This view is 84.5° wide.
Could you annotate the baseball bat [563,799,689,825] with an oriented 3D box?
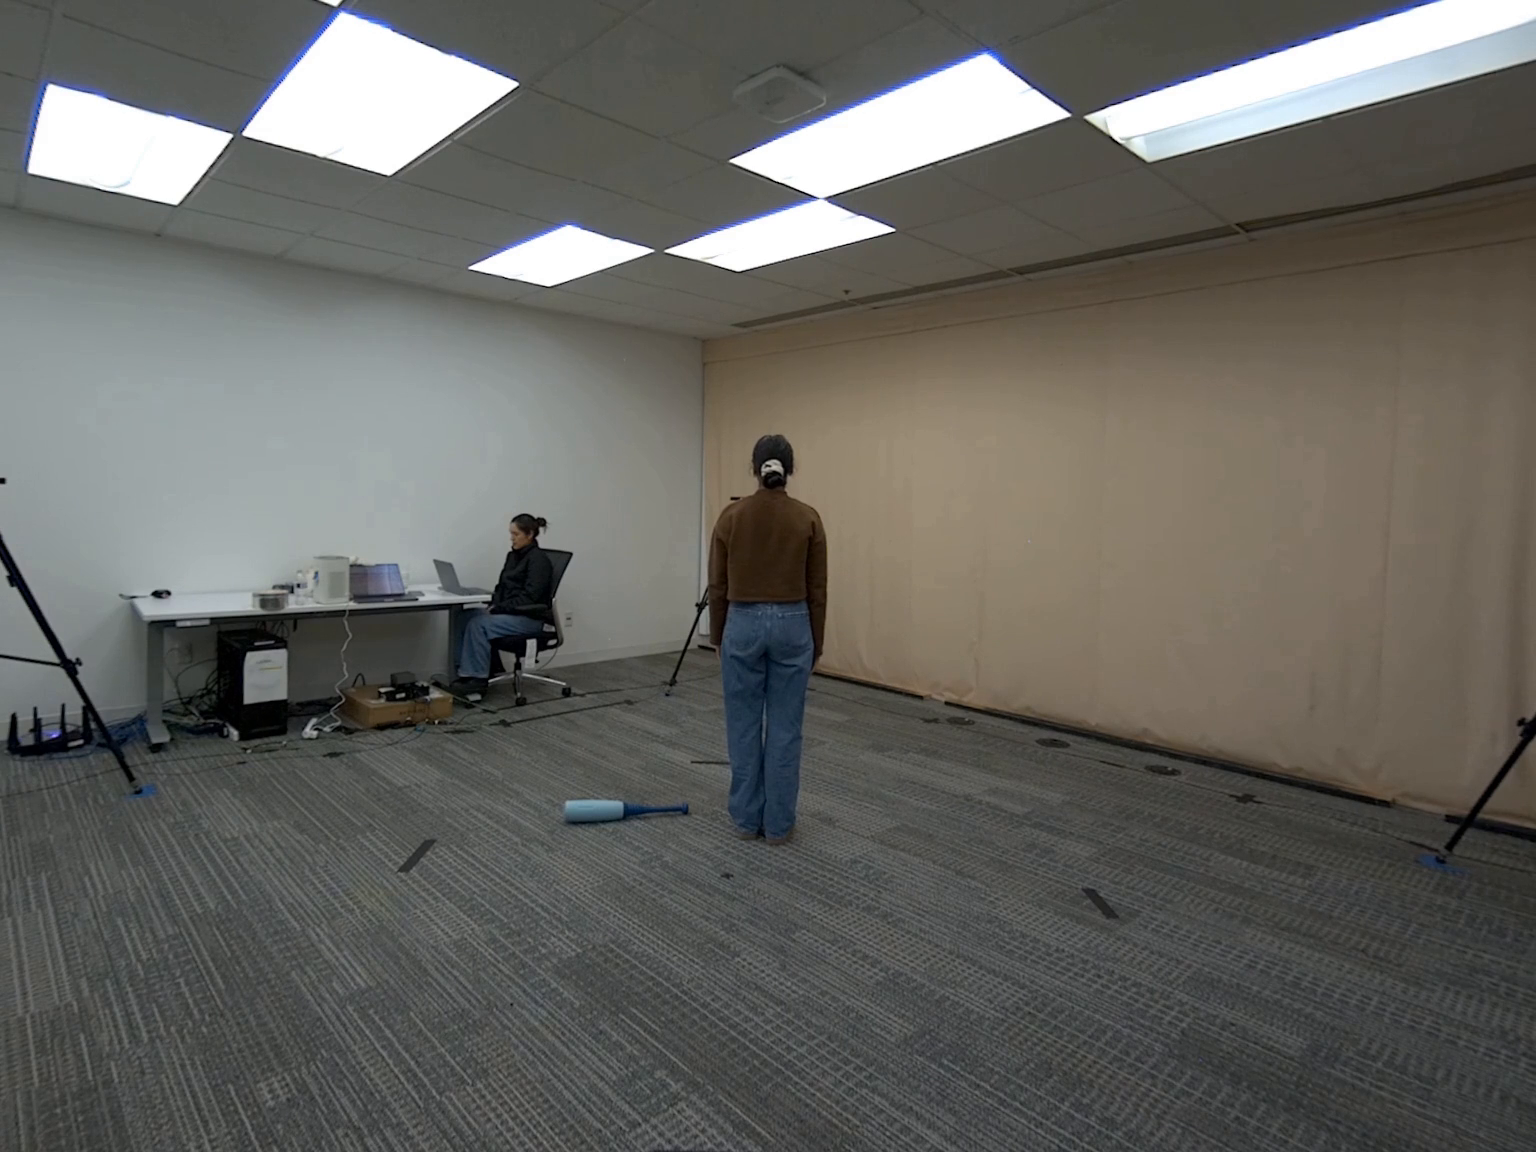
[{"bbox_3d":[-0.613,1.005,3.640,0.536,0.089,0.090,3,4,-16],"label":"baseball bat"}]
